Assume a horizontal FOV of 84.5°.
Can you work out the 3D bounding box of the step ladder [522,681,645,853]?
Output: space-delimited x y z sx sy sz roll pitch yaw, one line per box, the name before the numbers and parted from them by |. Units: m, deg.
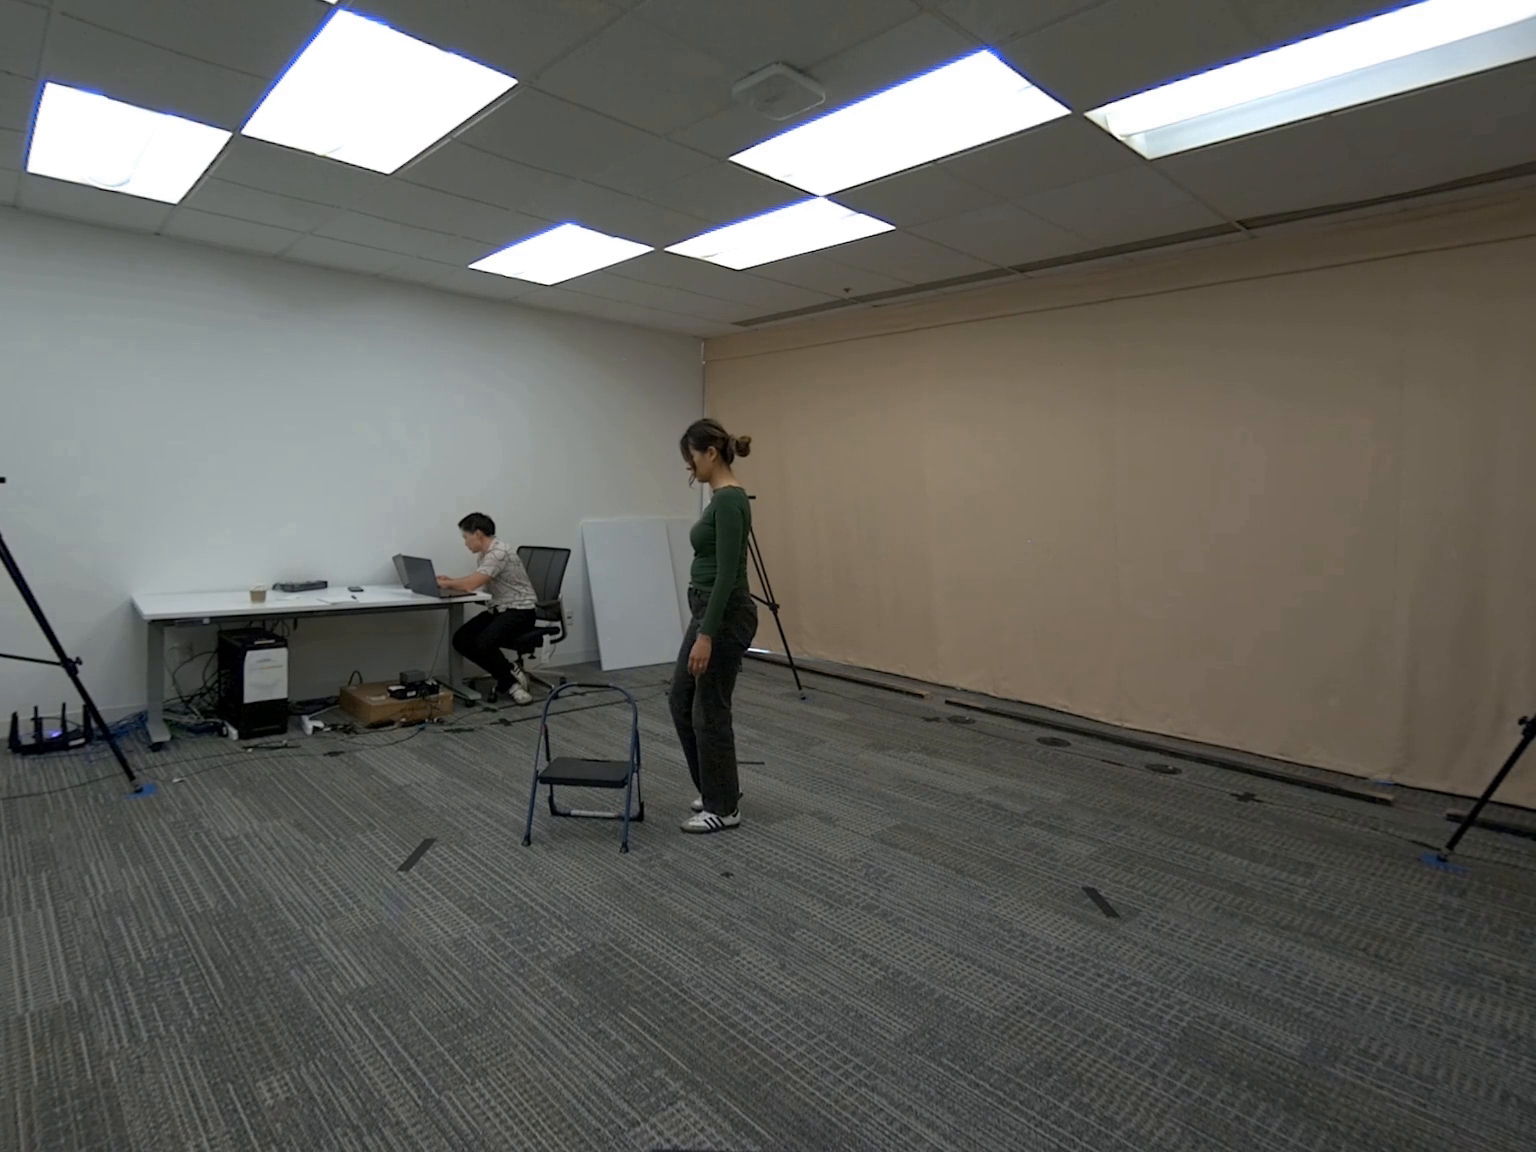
step ladder | -0.747 0.757 3.449 0.433 0.604 0.348 2 4 5
